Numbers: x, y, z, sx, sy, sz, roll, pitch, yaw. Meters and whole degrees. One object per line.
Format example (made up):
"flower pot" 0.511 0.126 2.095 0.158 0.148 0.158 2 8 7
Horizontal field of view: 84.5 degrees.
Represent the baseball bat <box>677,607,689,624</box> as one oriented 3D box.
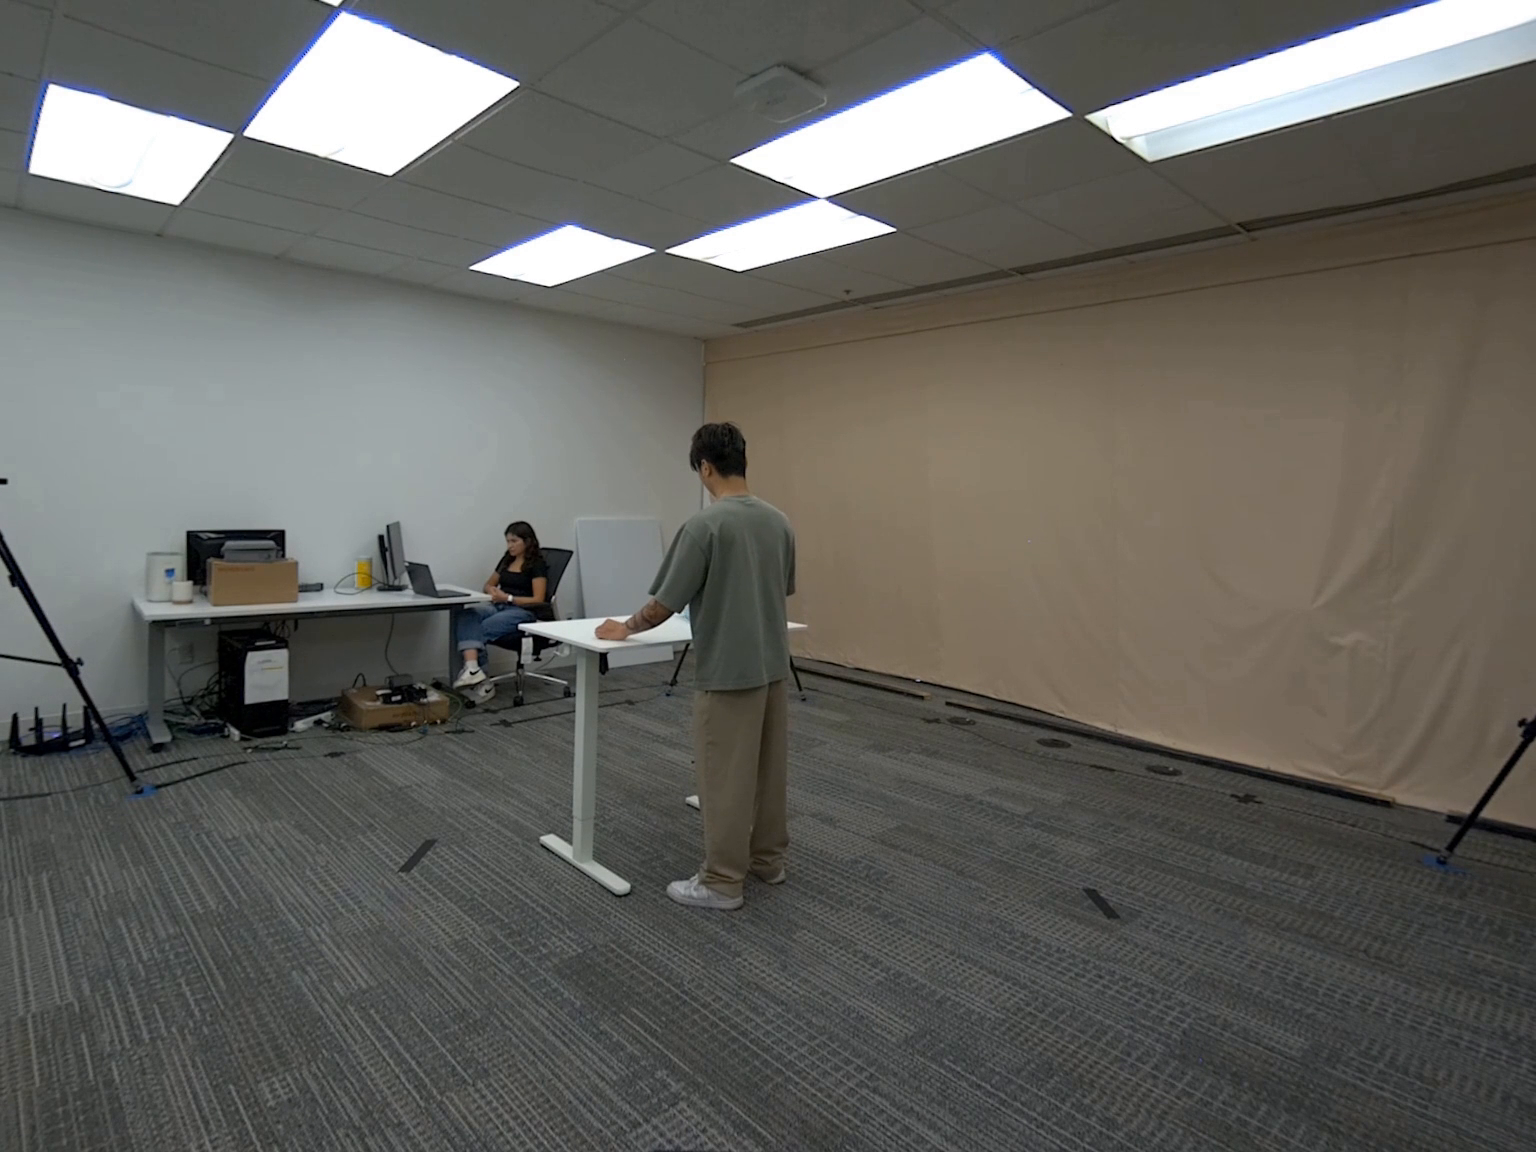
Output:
"baseball bat" -0.277 0.166 3.409 0.088 0.088 0.554 0 10 -19
